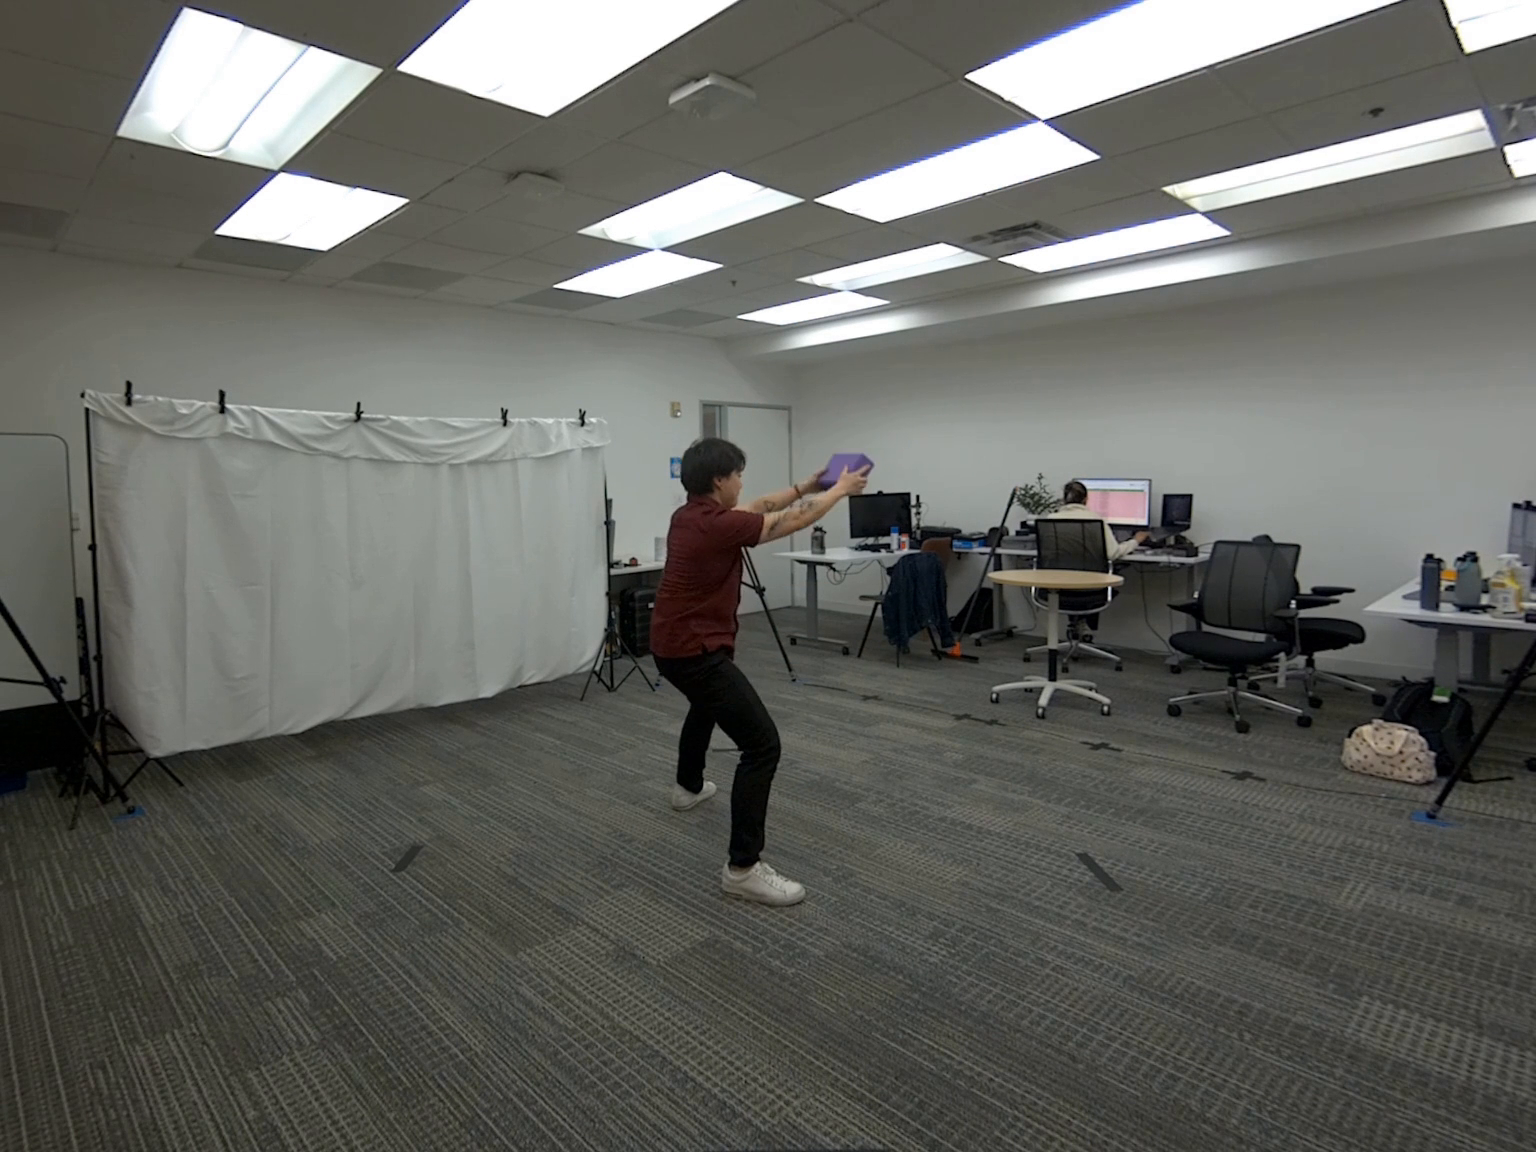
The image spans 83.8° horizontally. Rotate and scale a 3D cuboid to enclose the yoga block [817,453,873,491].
[{"bbox_3d":[0.297,-0.412,3.399,0.075,0.149,0.234,37,-5,-19],"label":"yoga block"}]
